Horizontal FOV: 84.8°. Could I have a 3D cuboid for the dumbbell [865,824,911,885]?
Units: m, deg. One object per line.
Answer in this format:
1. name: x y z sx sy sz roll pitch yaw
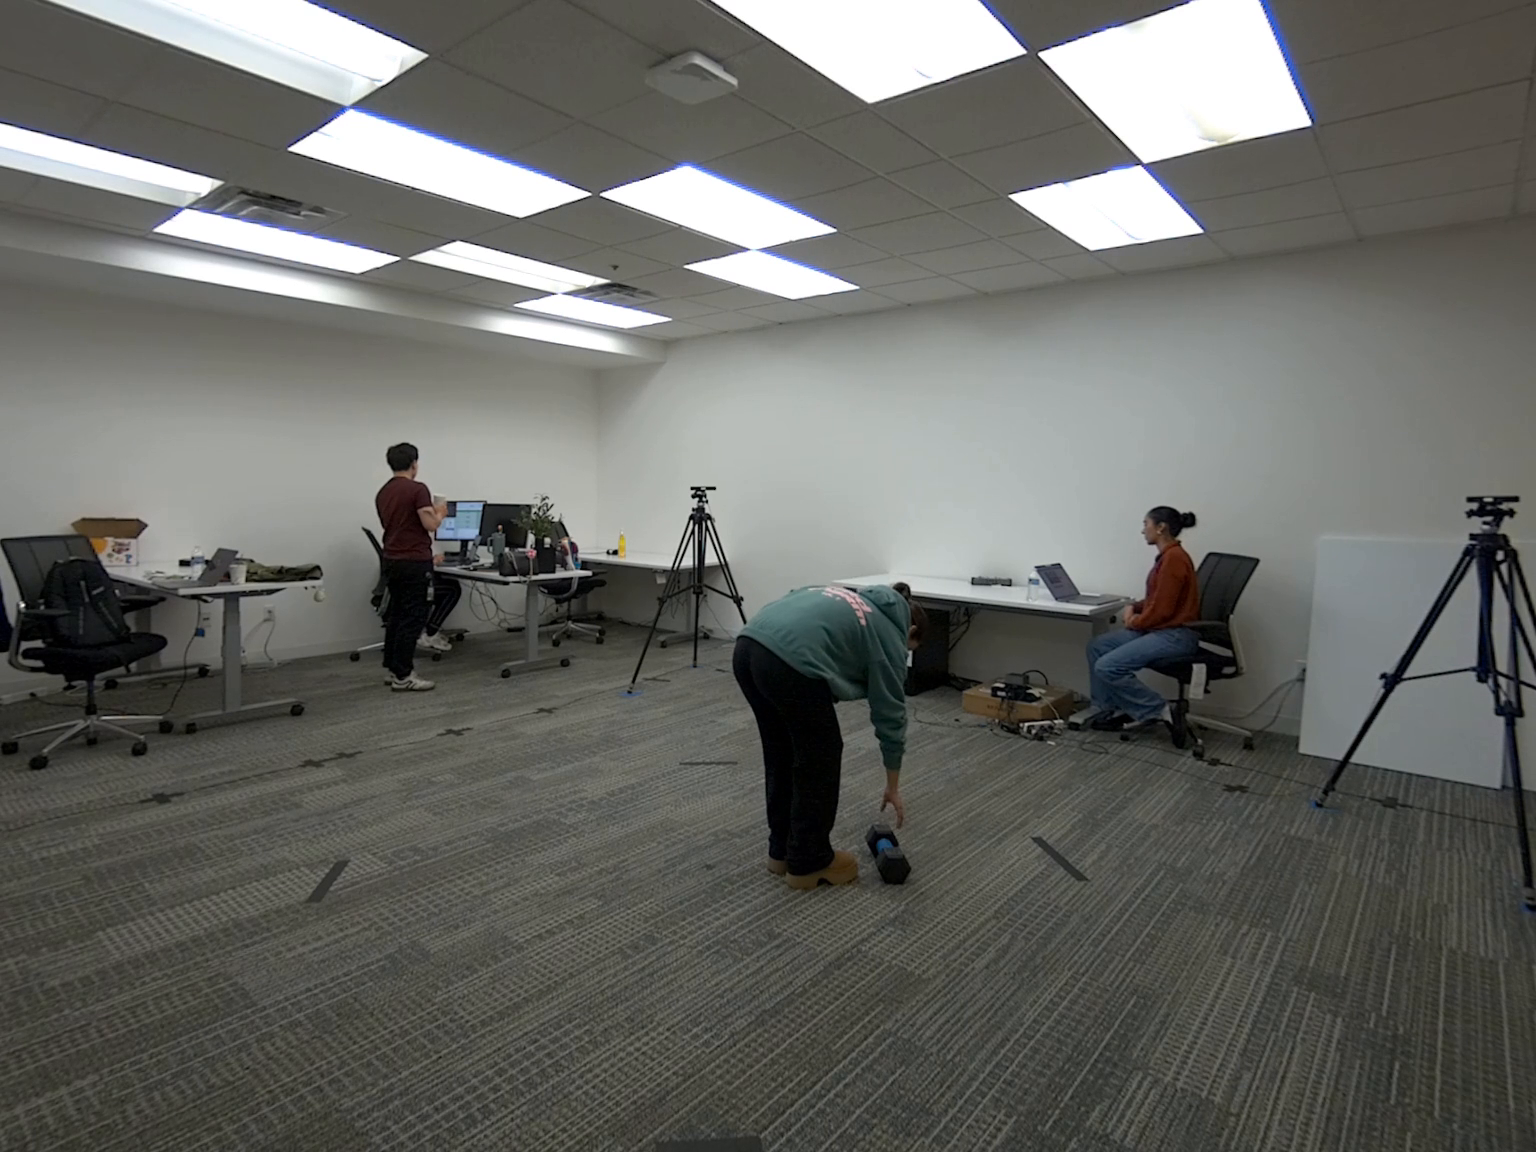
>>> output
1. dumbbell: 0.431 1.022 3.145 0.109 0.122 0.295 -30 6 0
